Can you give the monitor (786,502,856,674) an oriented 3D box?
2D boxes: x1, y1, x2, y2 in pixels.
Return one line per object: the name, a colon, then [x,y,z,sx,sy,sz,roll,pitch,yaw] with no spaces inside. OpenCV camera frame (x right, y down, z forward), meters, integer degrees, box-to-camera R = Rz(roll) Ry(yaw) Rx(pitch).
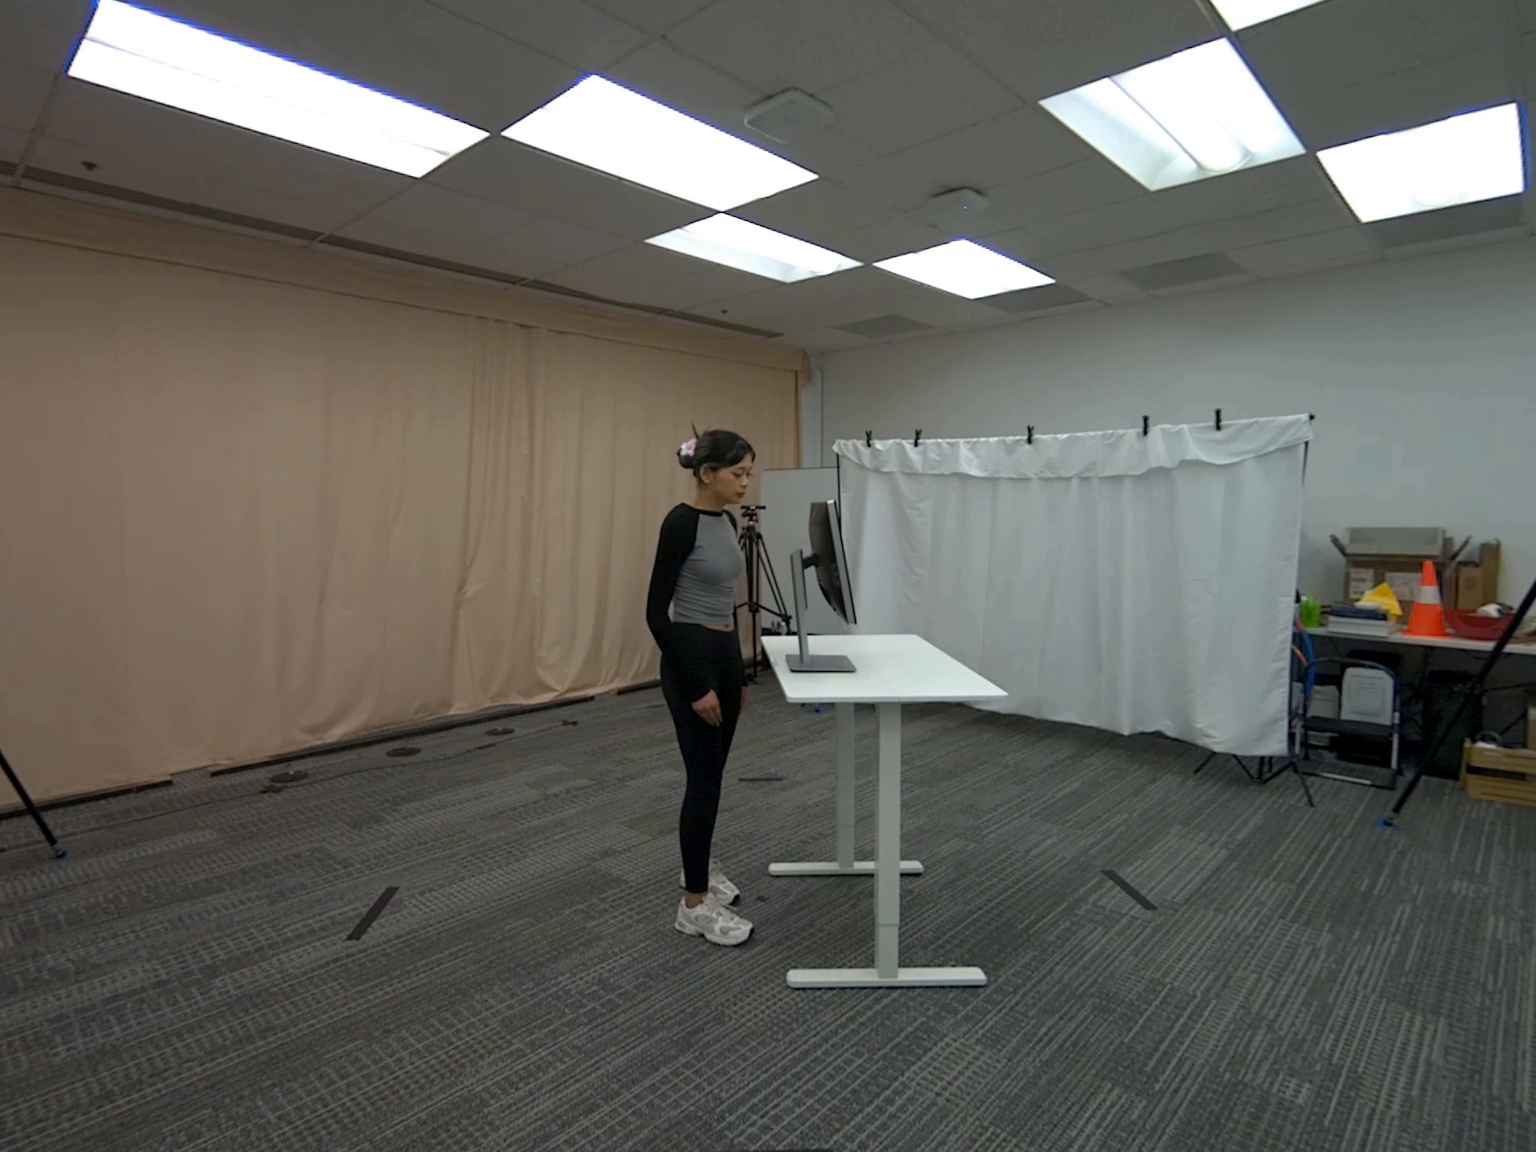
monitor: [0.168,0.030,2.684,0.187,0.521,0.541,1,5,-3]
